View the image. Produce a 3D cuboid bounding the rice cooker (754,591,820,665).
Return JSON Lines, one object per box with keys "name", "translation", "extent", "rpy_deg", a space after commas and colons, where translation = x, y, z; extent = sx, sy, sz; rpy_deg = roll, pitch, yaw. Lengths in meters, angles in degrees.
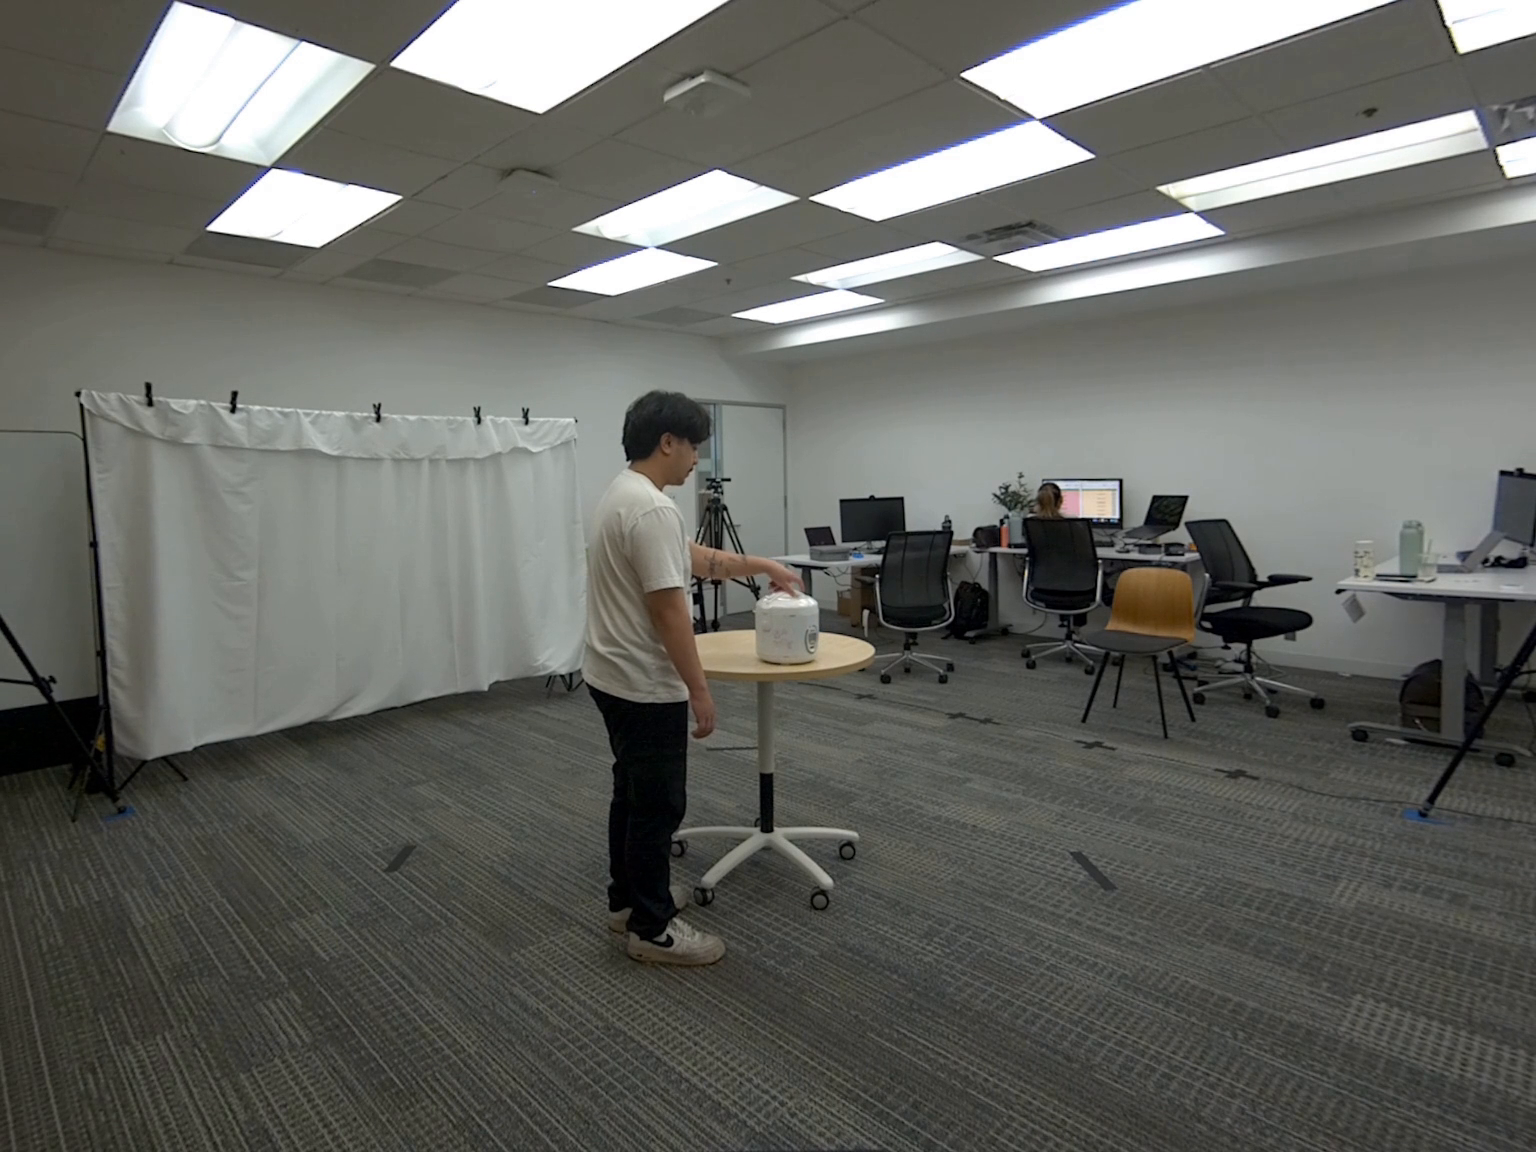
{"name": "rice cooker", "translation": [0.068, 0.160, 2.812], "extent": [0.224, 0.232, 0.215], "rpy_deg": [2, 5, 44]}
